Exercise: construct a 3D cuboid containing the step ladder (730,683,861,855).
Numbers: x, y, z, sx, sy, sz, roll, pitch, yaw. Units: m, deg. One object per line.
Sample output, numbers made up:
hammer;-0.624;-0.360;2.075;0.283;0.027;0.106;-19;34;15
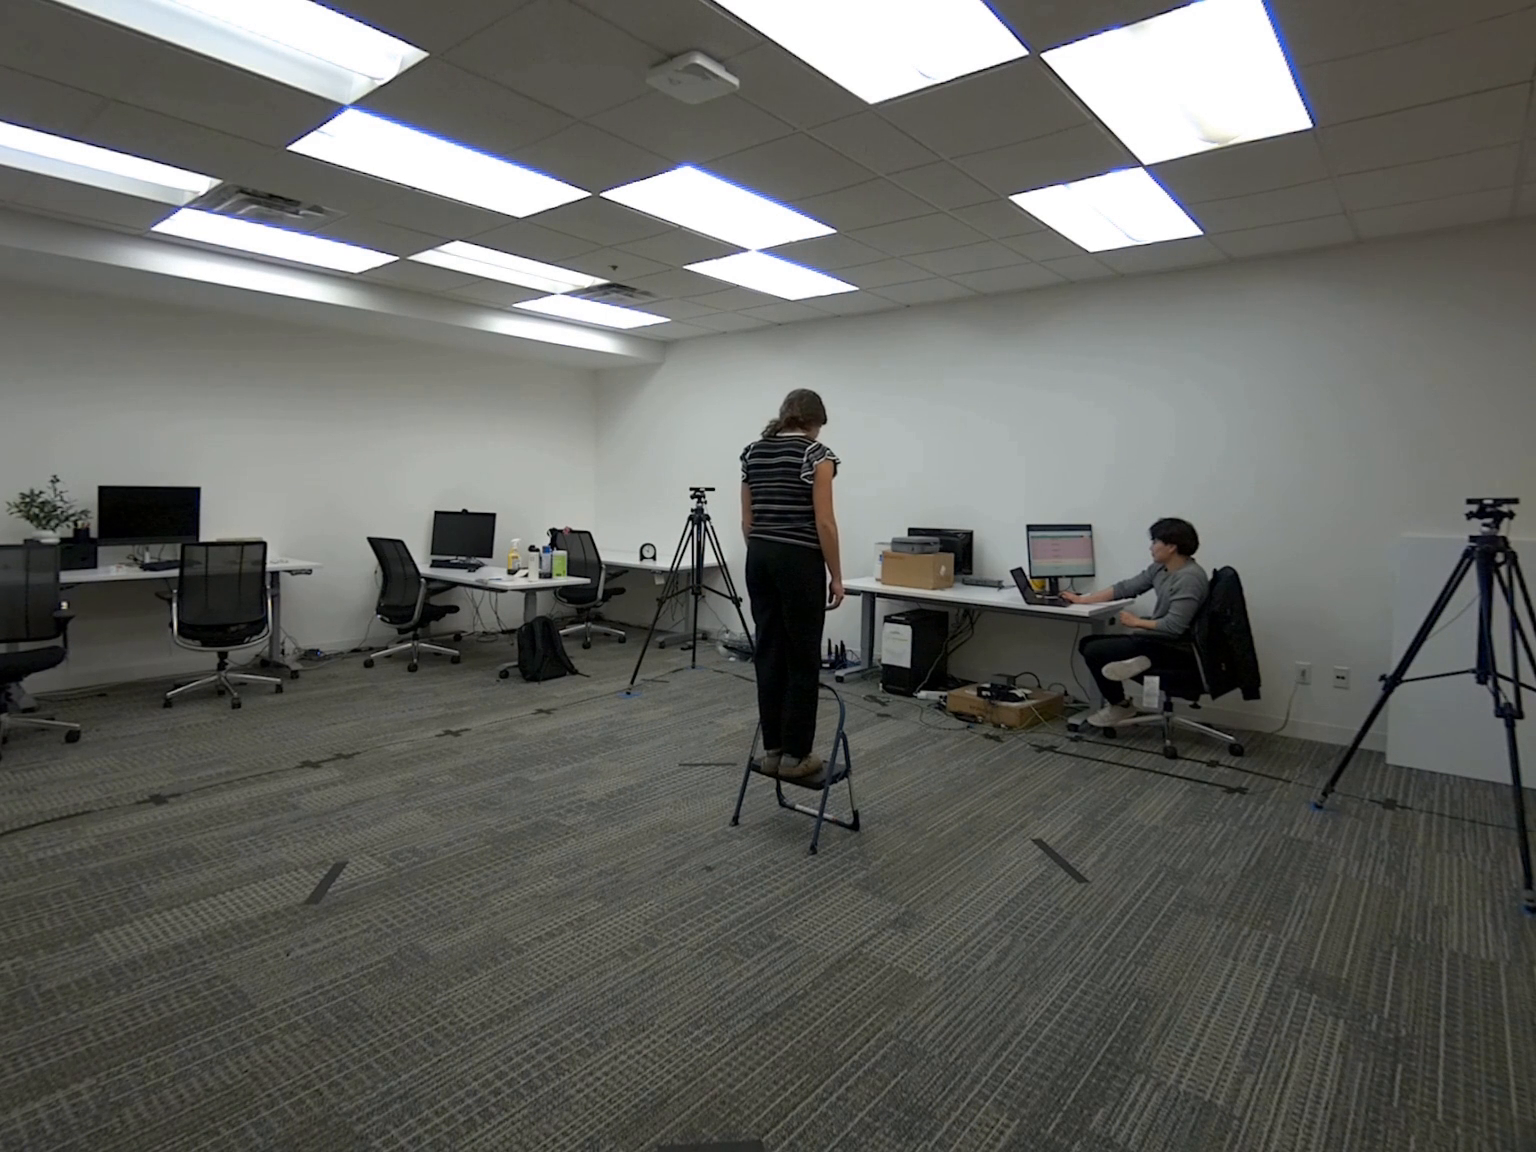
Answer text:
step ladder;0.112;0.732;3.495;0.445;0.604;0.339;4;4;39
